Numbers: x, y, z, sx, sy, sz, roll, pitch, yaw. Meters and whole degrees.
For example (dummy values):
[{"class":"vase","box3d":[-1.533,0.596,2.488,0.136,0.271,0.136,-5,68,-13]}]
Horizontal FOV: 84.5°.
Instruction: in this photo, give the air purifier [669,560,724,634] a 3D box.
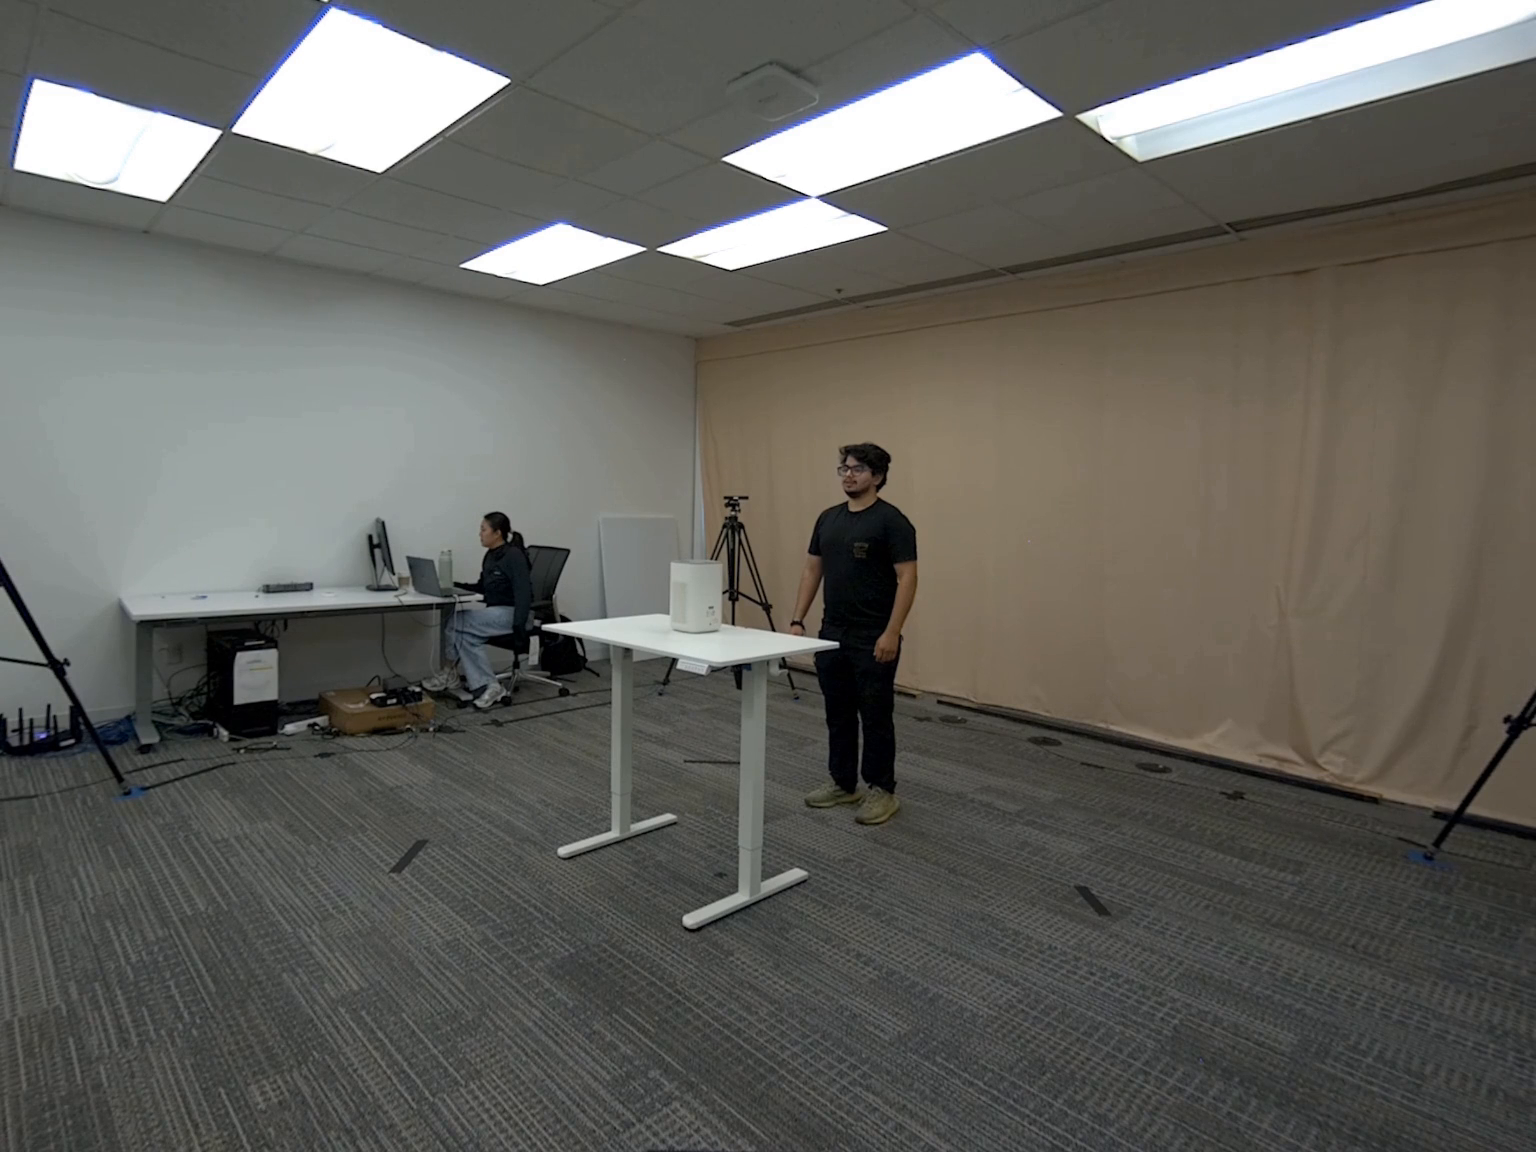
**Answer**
[{"class":"air purifier","box3d":[-0.280,0.077,3.208,0.176,0.265,0.167,3,4,44]}]
